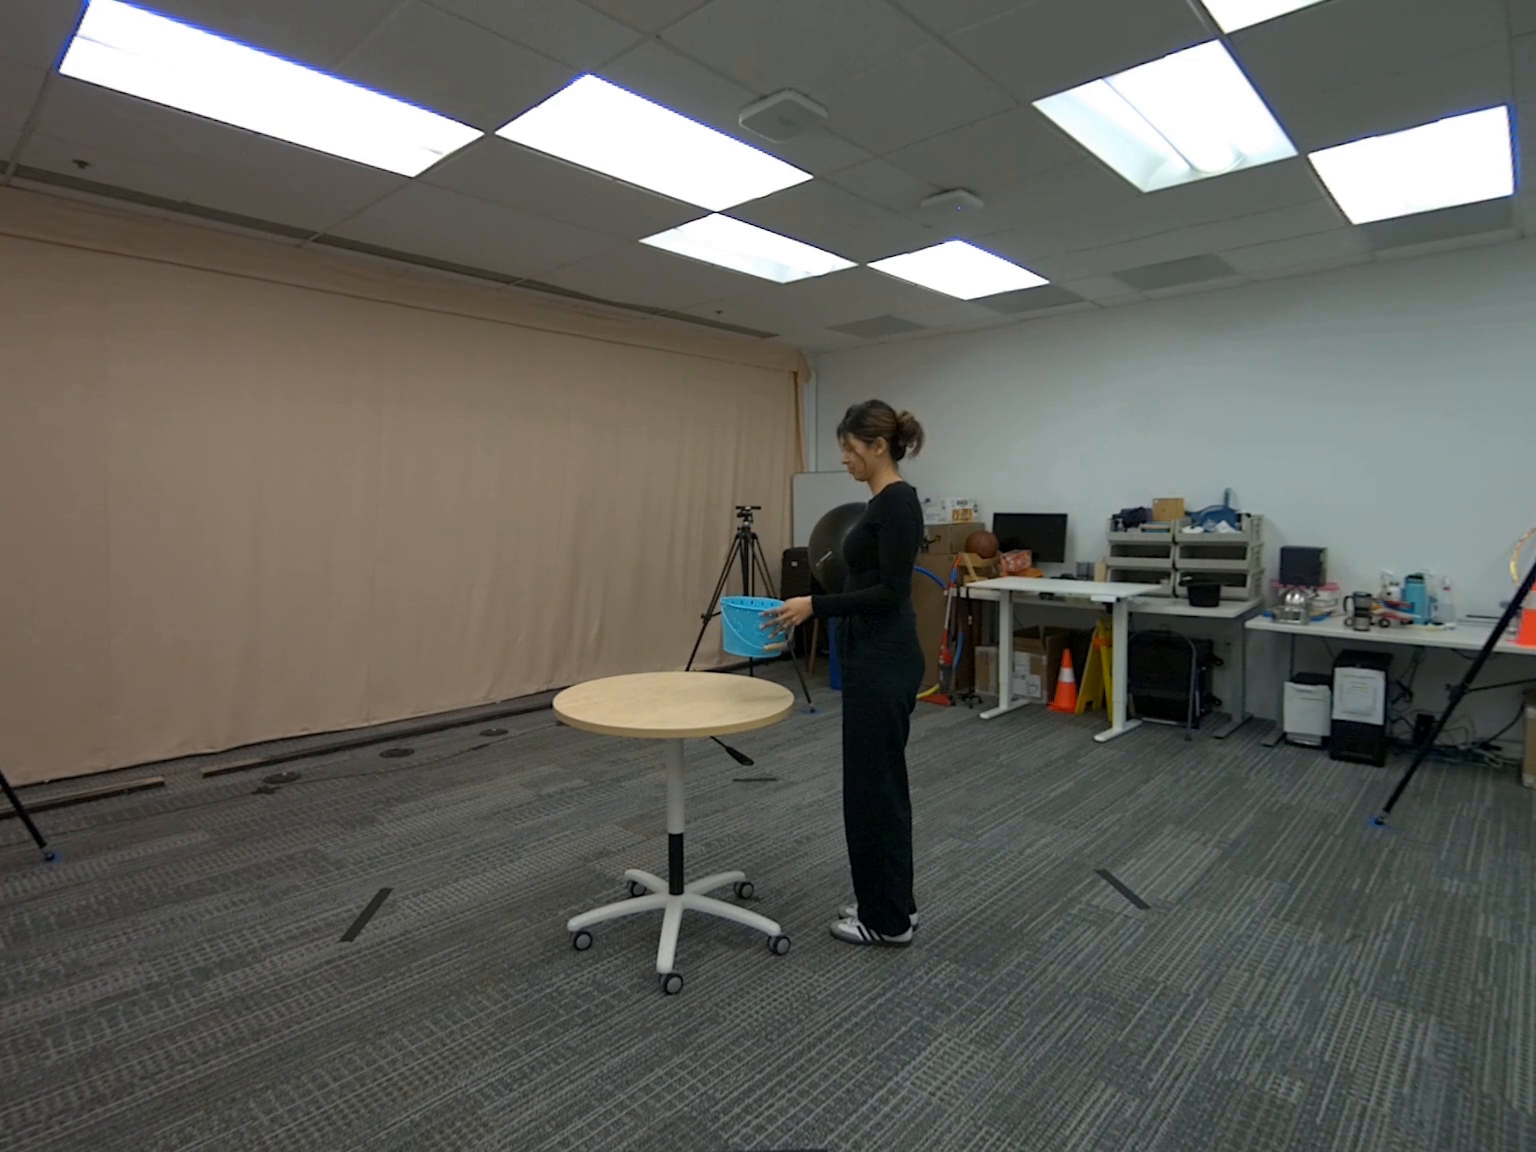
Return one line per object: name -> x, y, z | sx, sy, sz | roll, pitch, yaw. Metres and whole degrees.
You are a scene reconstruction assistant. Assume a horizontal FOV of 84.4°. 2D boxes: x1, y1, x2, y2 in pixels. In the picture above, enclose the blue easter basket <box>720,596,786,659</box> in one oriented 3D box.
blue easter basket -> -0.027, 0.162, 2.619 | 0.243, 0.155, 0.245 | 4, 6, -2
